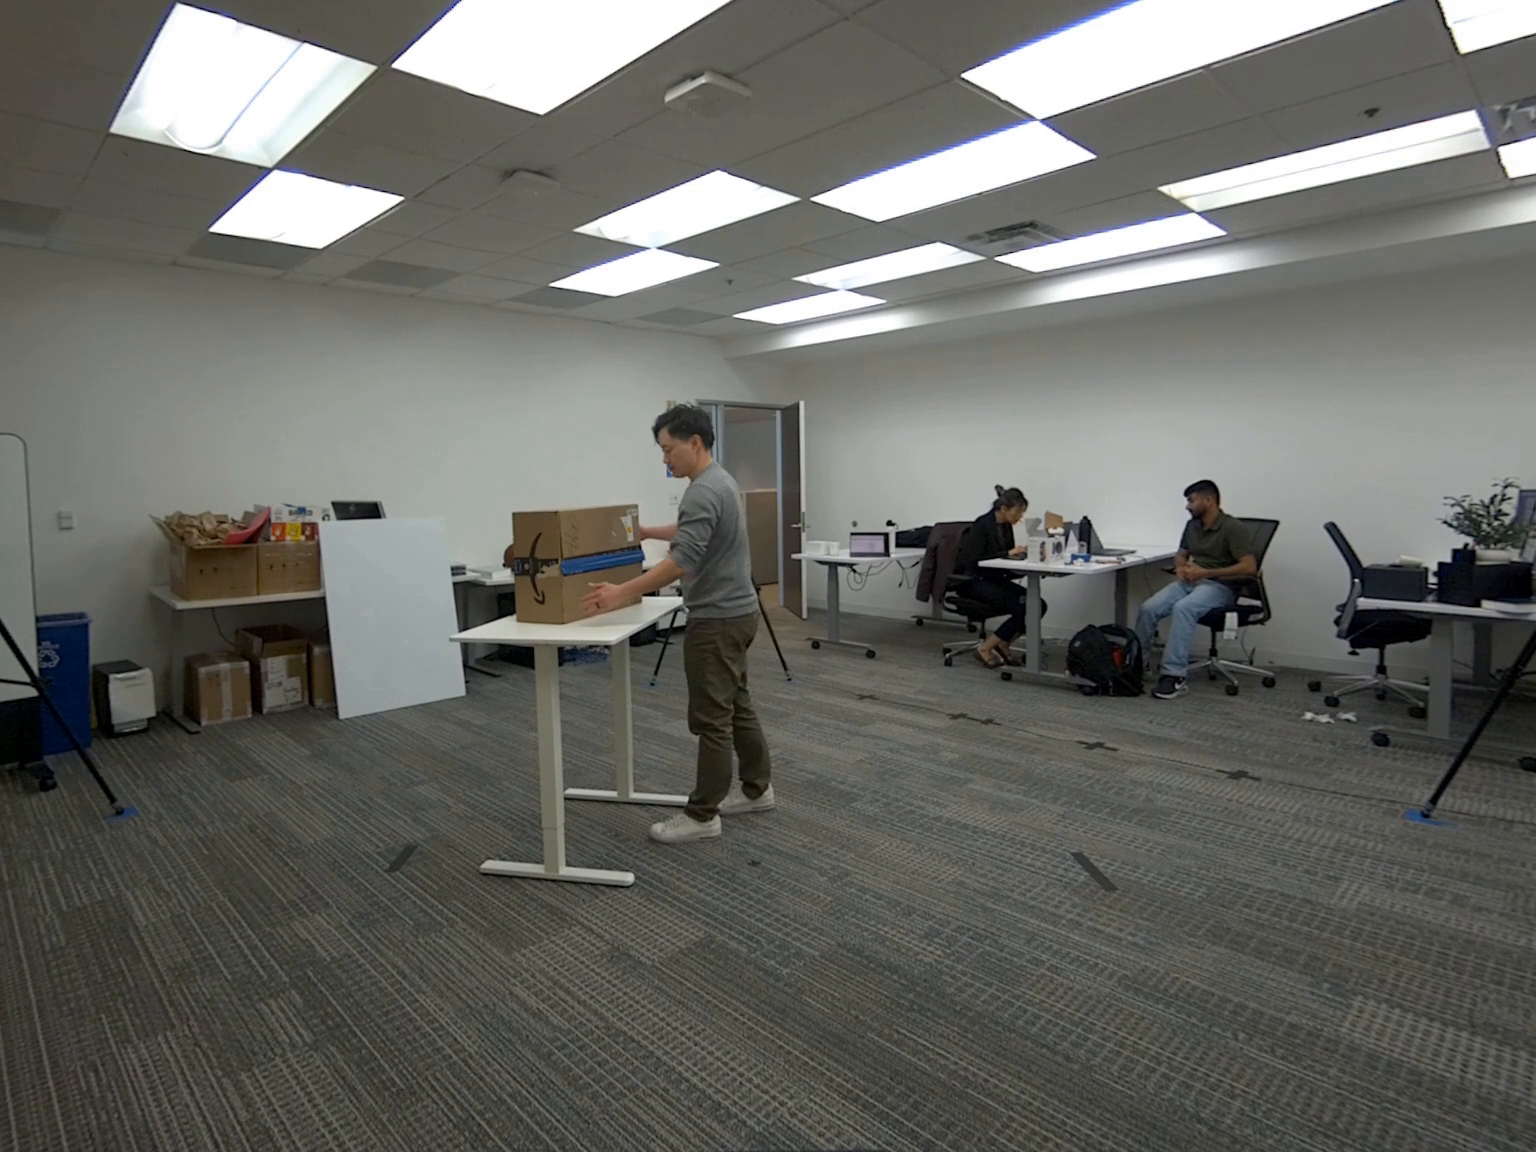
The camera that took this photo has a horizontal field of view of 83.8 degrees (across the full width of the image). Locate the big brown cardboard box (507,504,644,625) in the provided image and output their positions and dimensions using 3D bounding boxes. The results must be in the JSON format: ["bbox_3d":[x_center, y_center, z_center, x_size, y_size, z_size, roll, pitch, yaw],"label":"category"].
[{"bbox_3d":[-0.739,-0.064,3.401,0.238,0.416,0.578,-1,6,24],"label":"big brown cardboard box"}]
